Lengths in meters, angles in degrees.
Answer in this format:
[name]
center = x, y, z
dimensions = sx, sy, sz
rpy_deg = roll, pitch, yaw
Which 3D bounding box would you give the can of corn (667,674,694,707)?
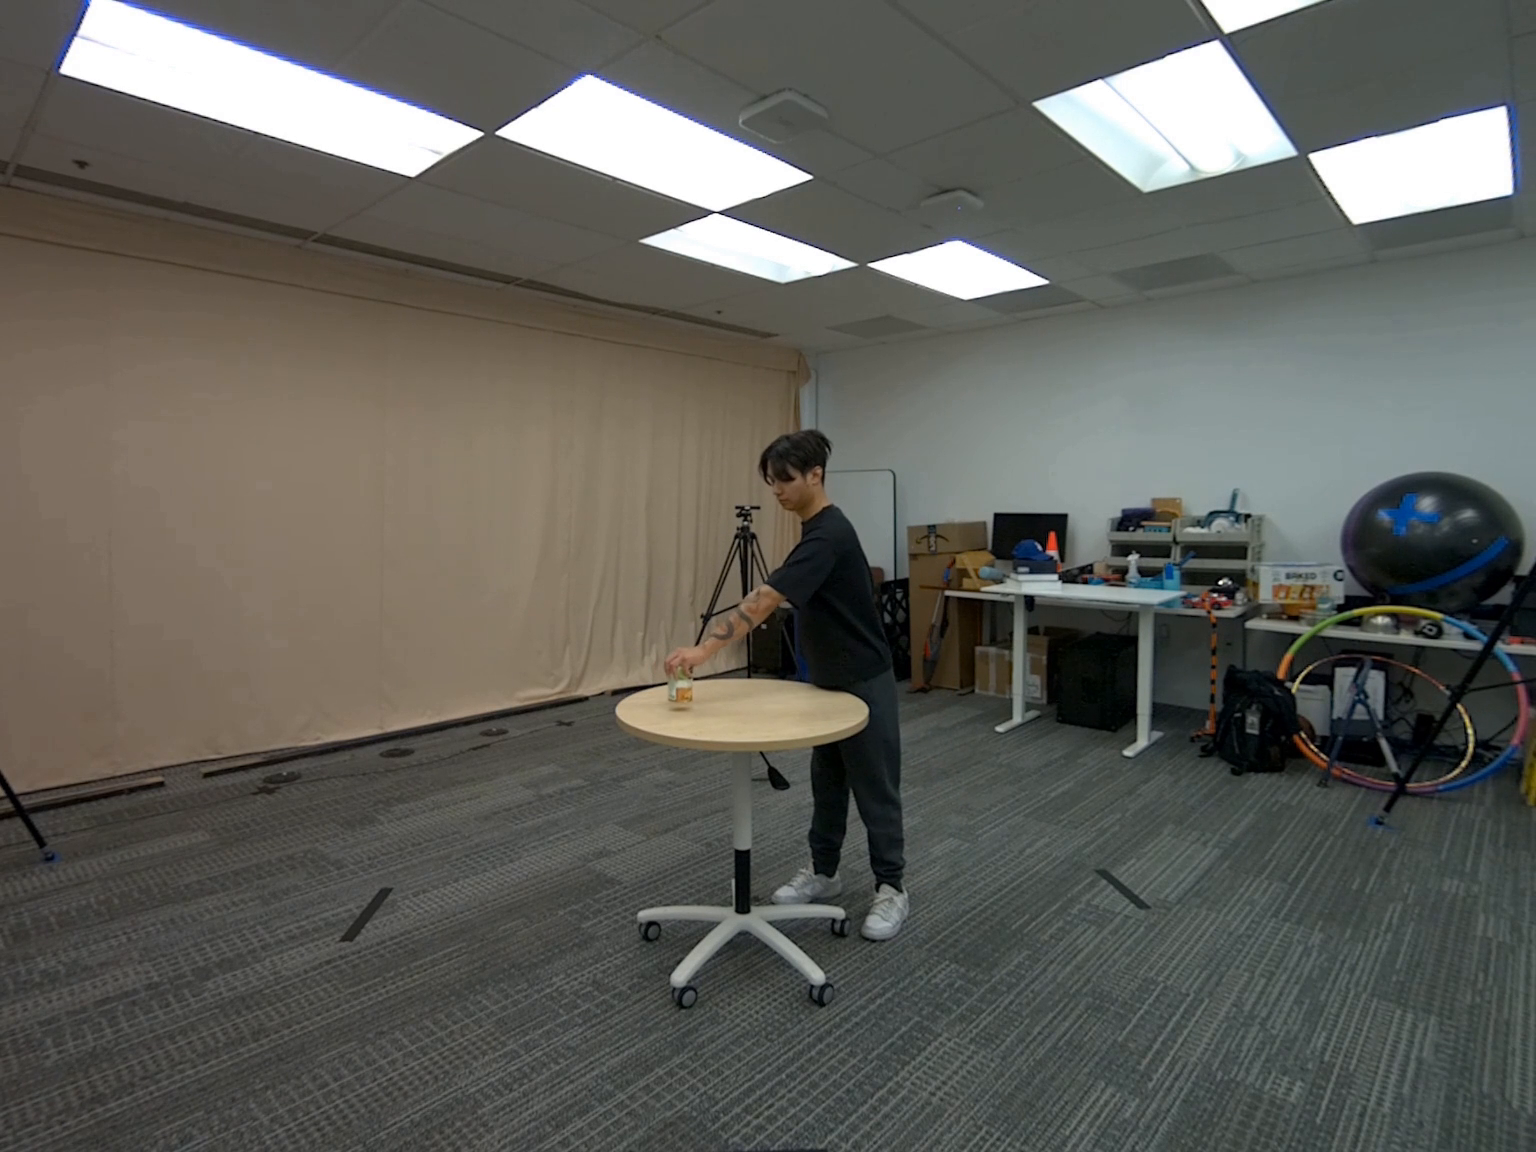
[can of corn]
center = -0.260, 0.321, 2.527
dimensions = 0.074, 0.111, 0.074
rpy_deg = 1, 3, -2
